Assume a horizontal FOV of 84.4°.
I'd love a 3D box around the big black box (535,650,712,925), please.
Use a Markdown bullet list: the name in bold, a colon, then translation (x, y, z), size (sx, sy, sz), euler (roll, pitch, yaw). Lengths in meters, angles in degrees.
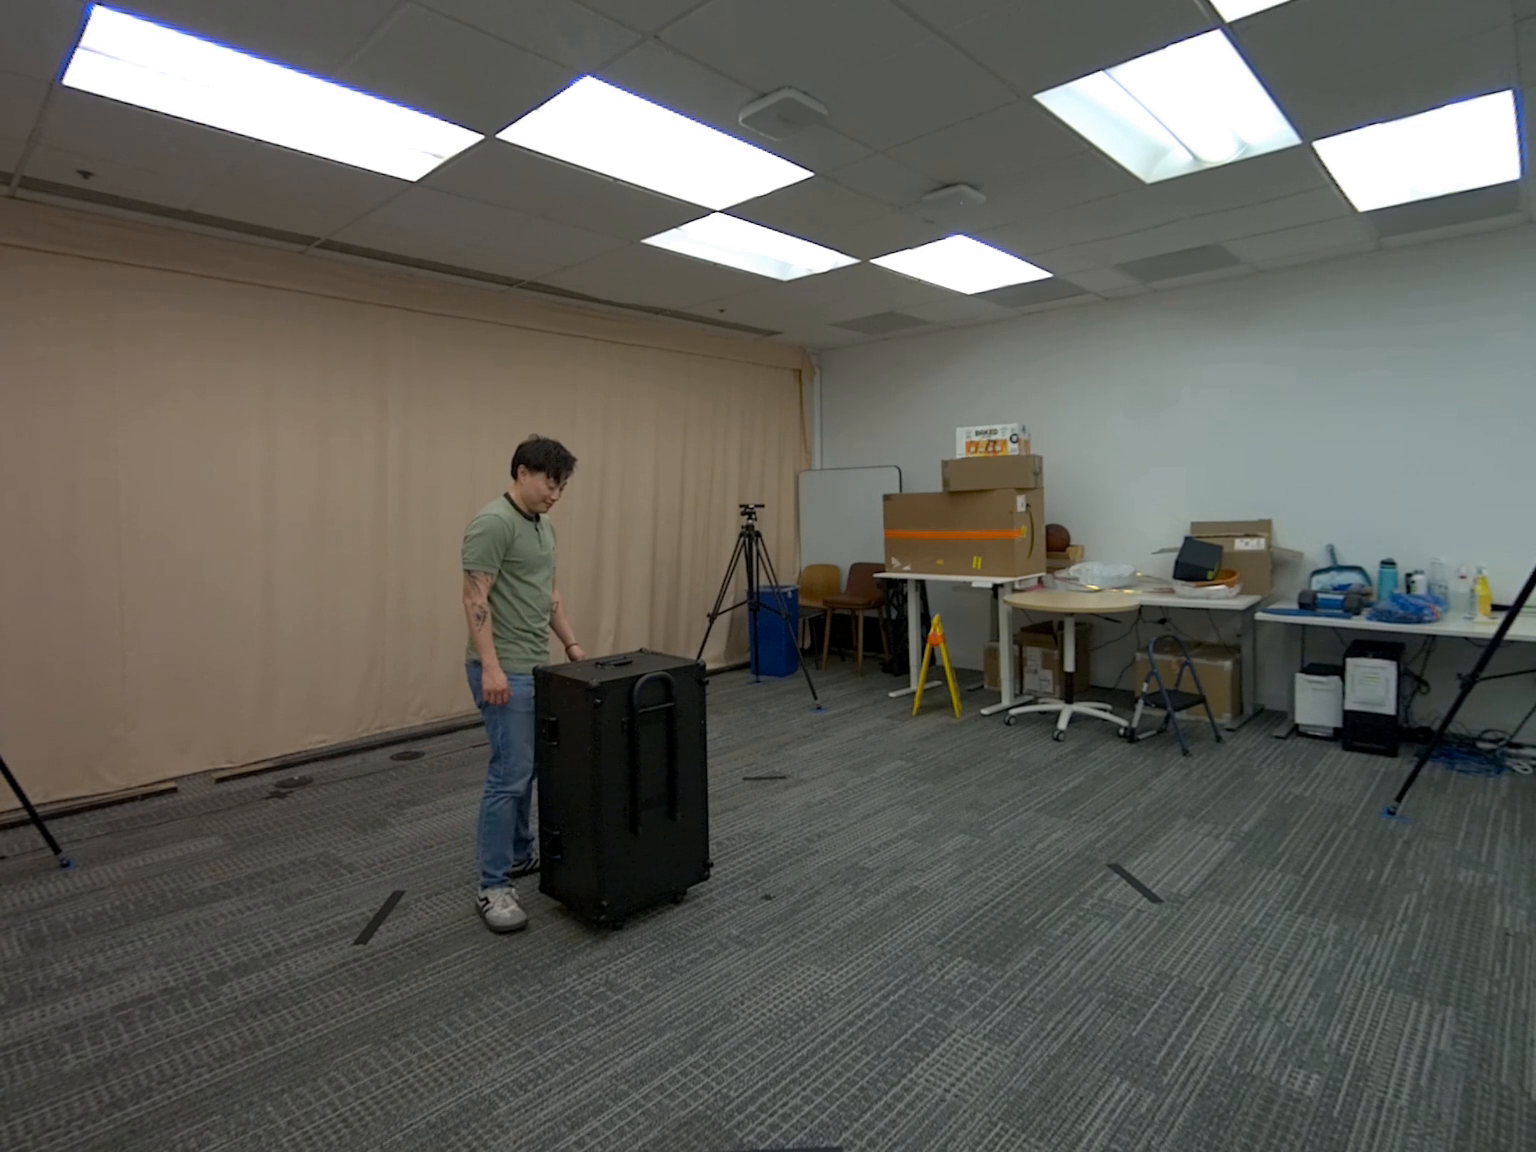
- **big black box**: translation (-0.489, 0.729, 2.921), size (0.505, 0.859, 0.409), euler (-4, 5, -45)
